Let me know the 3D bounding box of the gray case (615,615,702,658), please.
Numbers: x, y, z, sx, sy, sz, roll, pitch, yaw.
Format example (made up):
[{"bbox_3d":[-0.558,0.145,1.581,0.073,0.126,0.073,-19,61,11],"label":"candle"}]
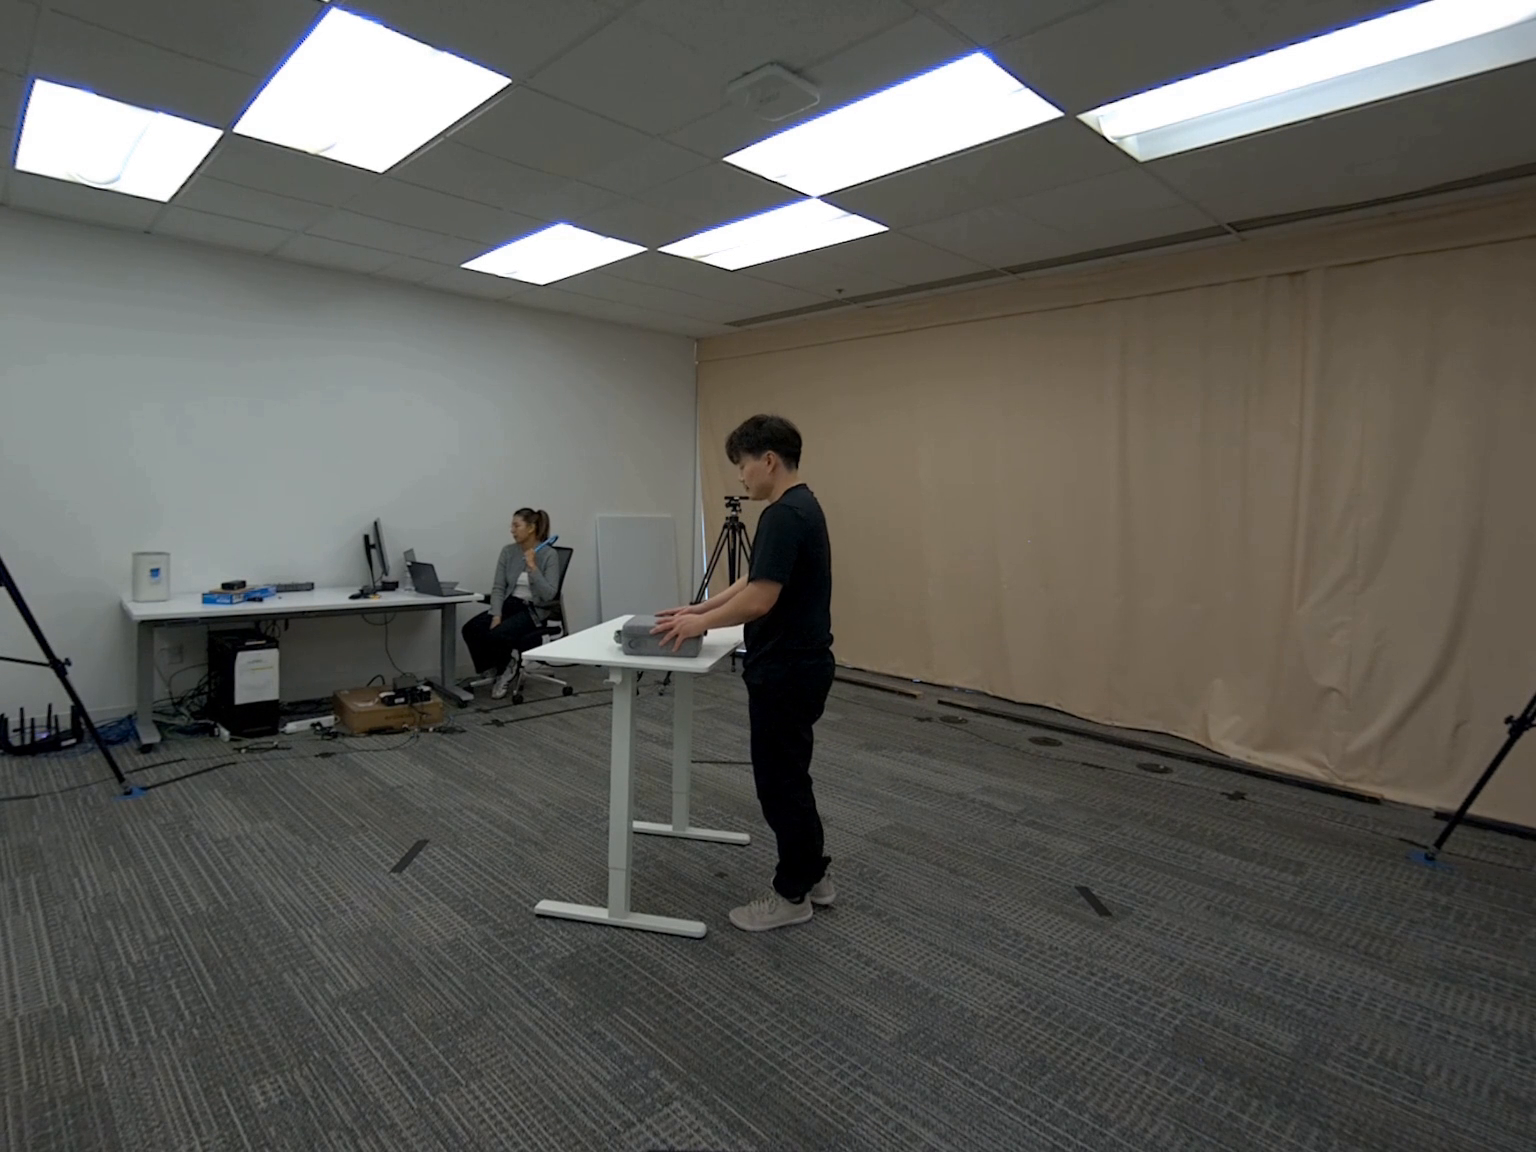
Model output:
[{"bbox_3d":[-0.357,0.203,2.775,0.261,0.104,0.258,2,8,1],"label":"gray case"}]
